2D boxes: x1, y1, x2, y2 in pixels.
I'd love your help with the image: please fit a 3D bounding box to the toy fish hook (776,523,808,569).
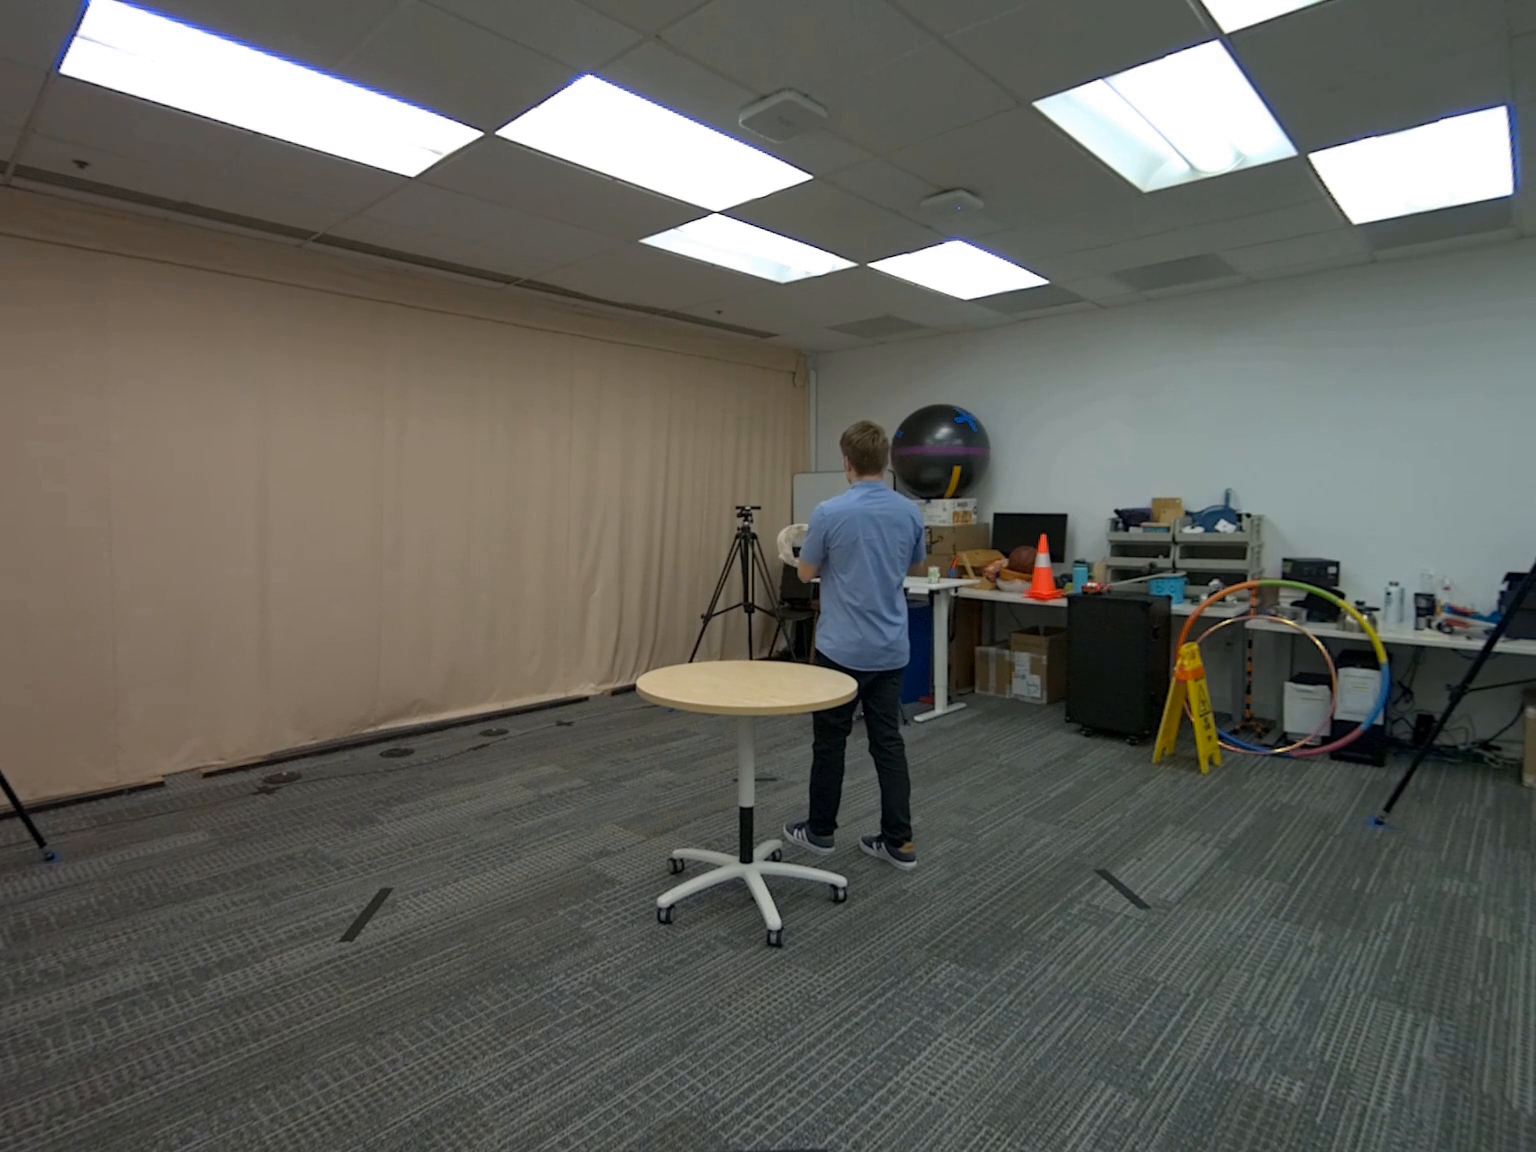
[{"bbox_3d":[0.304,-0.131,3.731,0.503,0.228,0.048,-4,-20,-6],"label":"toy fish hook"}]
